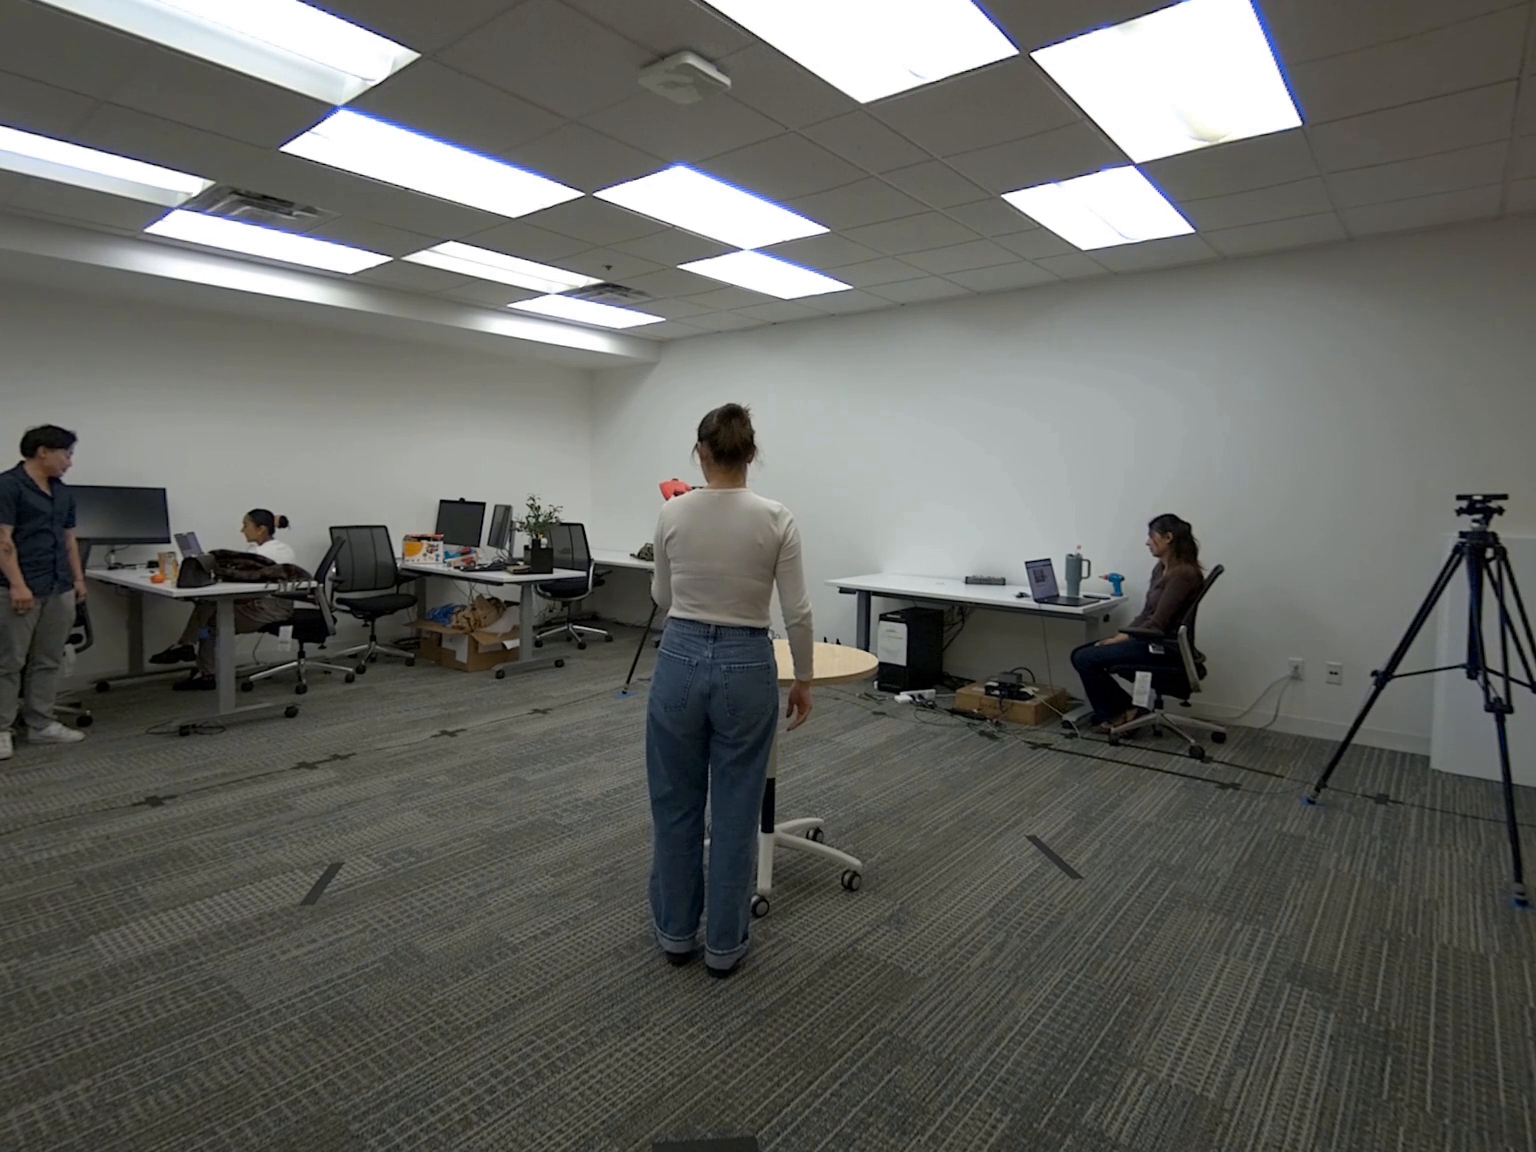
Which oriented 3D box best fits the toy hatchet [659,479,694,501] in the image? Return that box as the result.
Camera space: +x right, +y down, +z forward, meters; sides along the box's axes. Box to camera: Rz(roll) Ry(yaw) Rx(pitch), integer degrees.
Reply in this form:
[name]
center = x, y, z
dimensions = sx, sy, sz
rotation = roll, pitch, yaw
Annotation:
[toy hatchet]
center = -0.302, -0.202, 2.698
dimensions = 0.126, 0.277, 0.030
rotation = 25, -43, -31
